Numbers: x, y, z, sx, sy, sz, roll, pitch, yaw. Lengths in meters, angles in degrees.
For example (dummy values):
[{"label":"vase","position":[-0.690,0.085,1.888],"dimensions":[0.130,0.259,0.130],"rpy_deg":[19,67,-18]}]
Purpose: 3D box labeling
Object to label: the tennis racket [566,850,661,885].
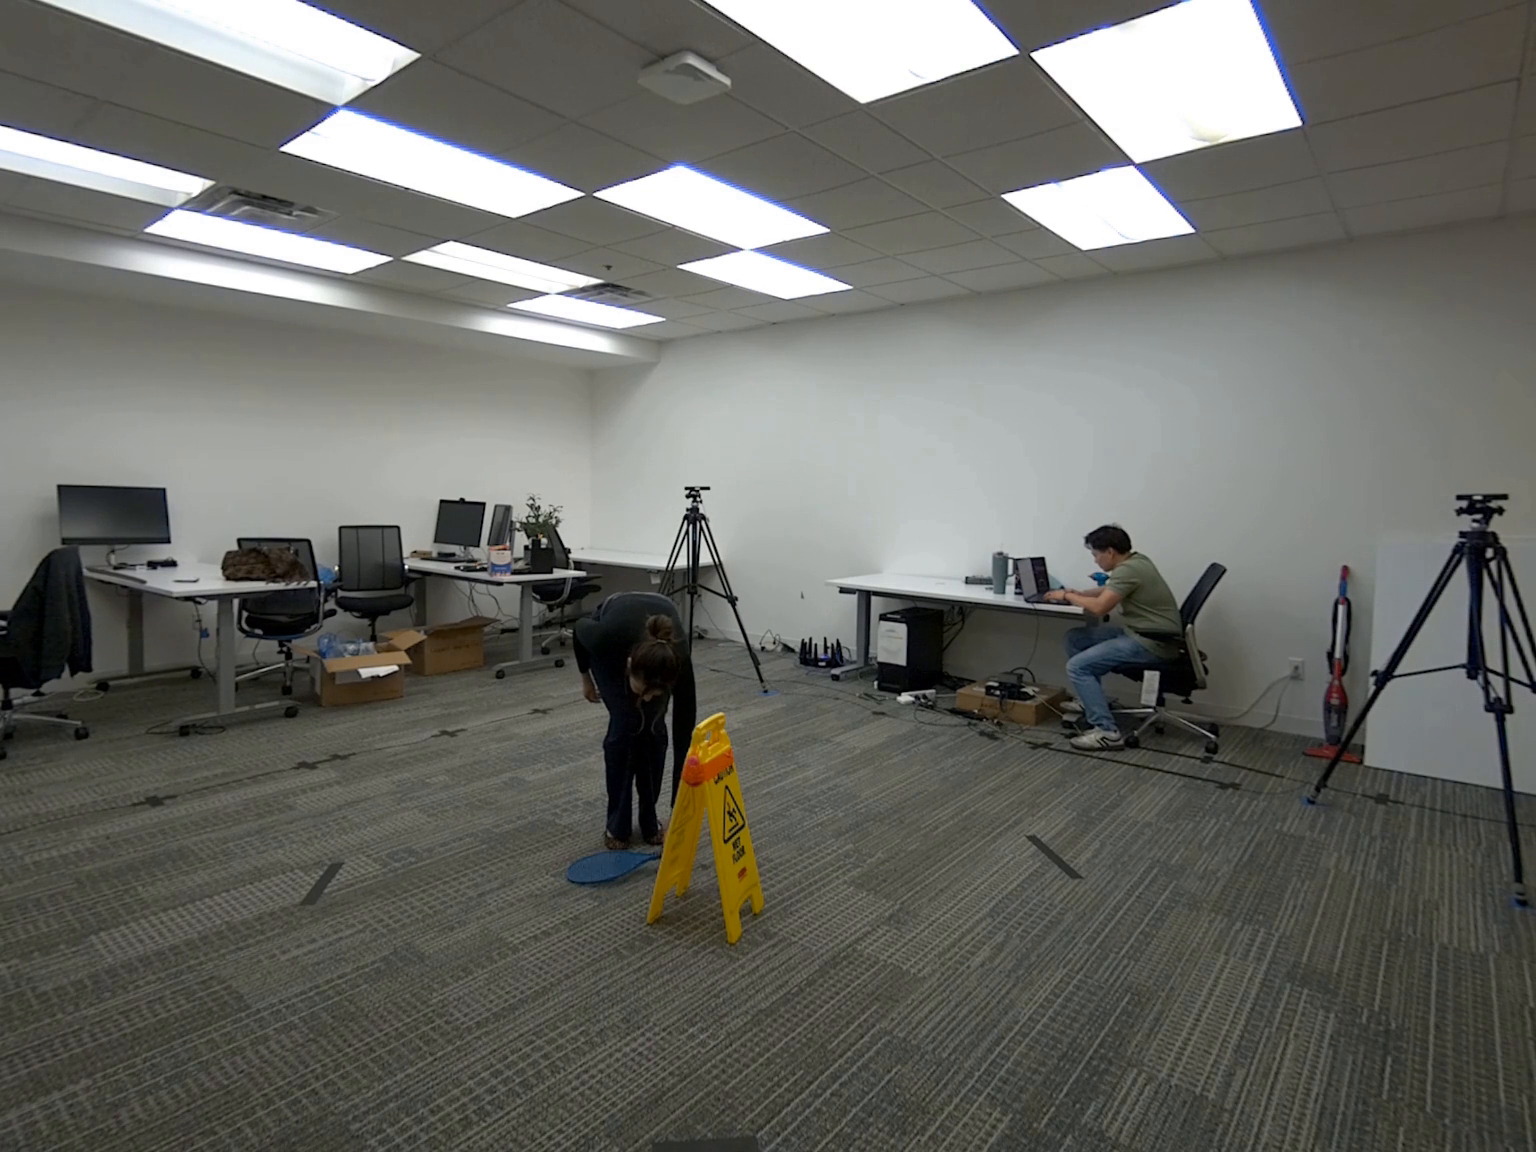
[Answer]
[{"label":"tennis racket","position":[-0.513,1.025,3.065],"dimensions":[0.429,0.031,0.218],"rpy_deg":[-9,10,-11]}]
